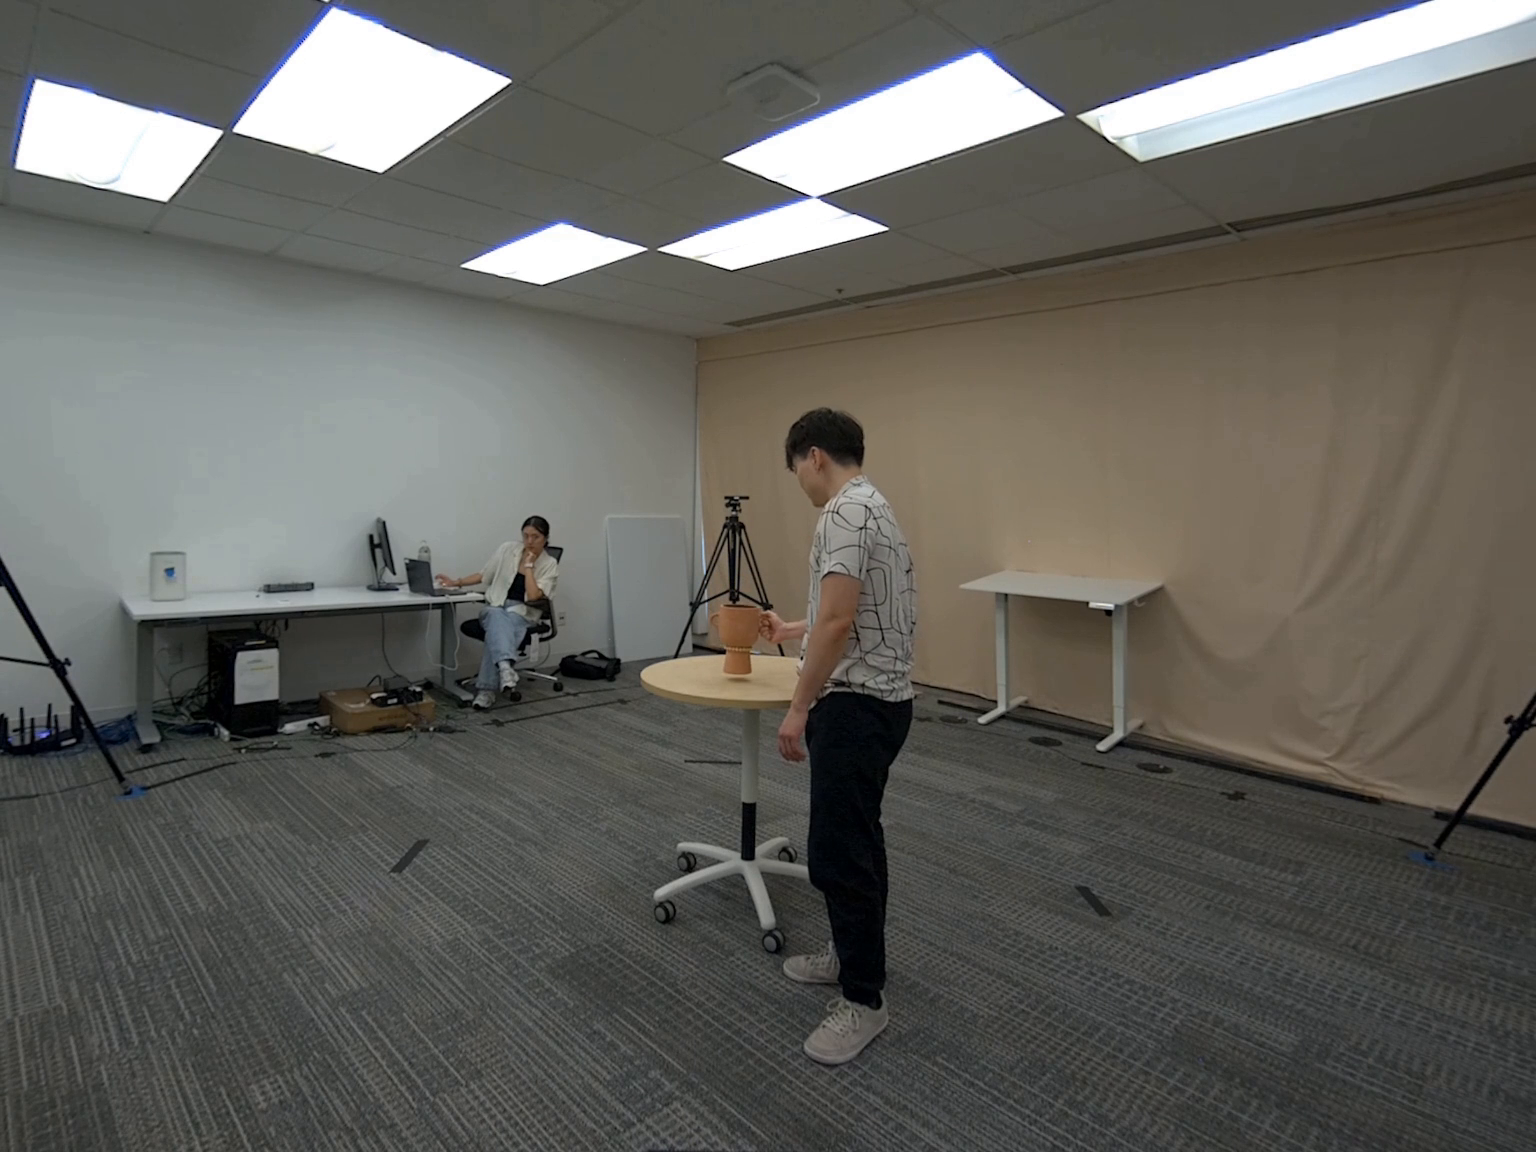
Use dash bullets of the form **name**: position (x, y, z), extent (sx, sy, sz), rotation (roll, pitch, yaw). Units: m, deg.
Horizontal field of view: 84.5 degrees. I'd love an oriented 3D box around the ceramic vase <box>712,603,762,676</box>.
- **ceramic vase**: position (-0.106, 0.211, 2.787), extent (0.131, 0.219, 0.163), rotation (0, 4, -44)
